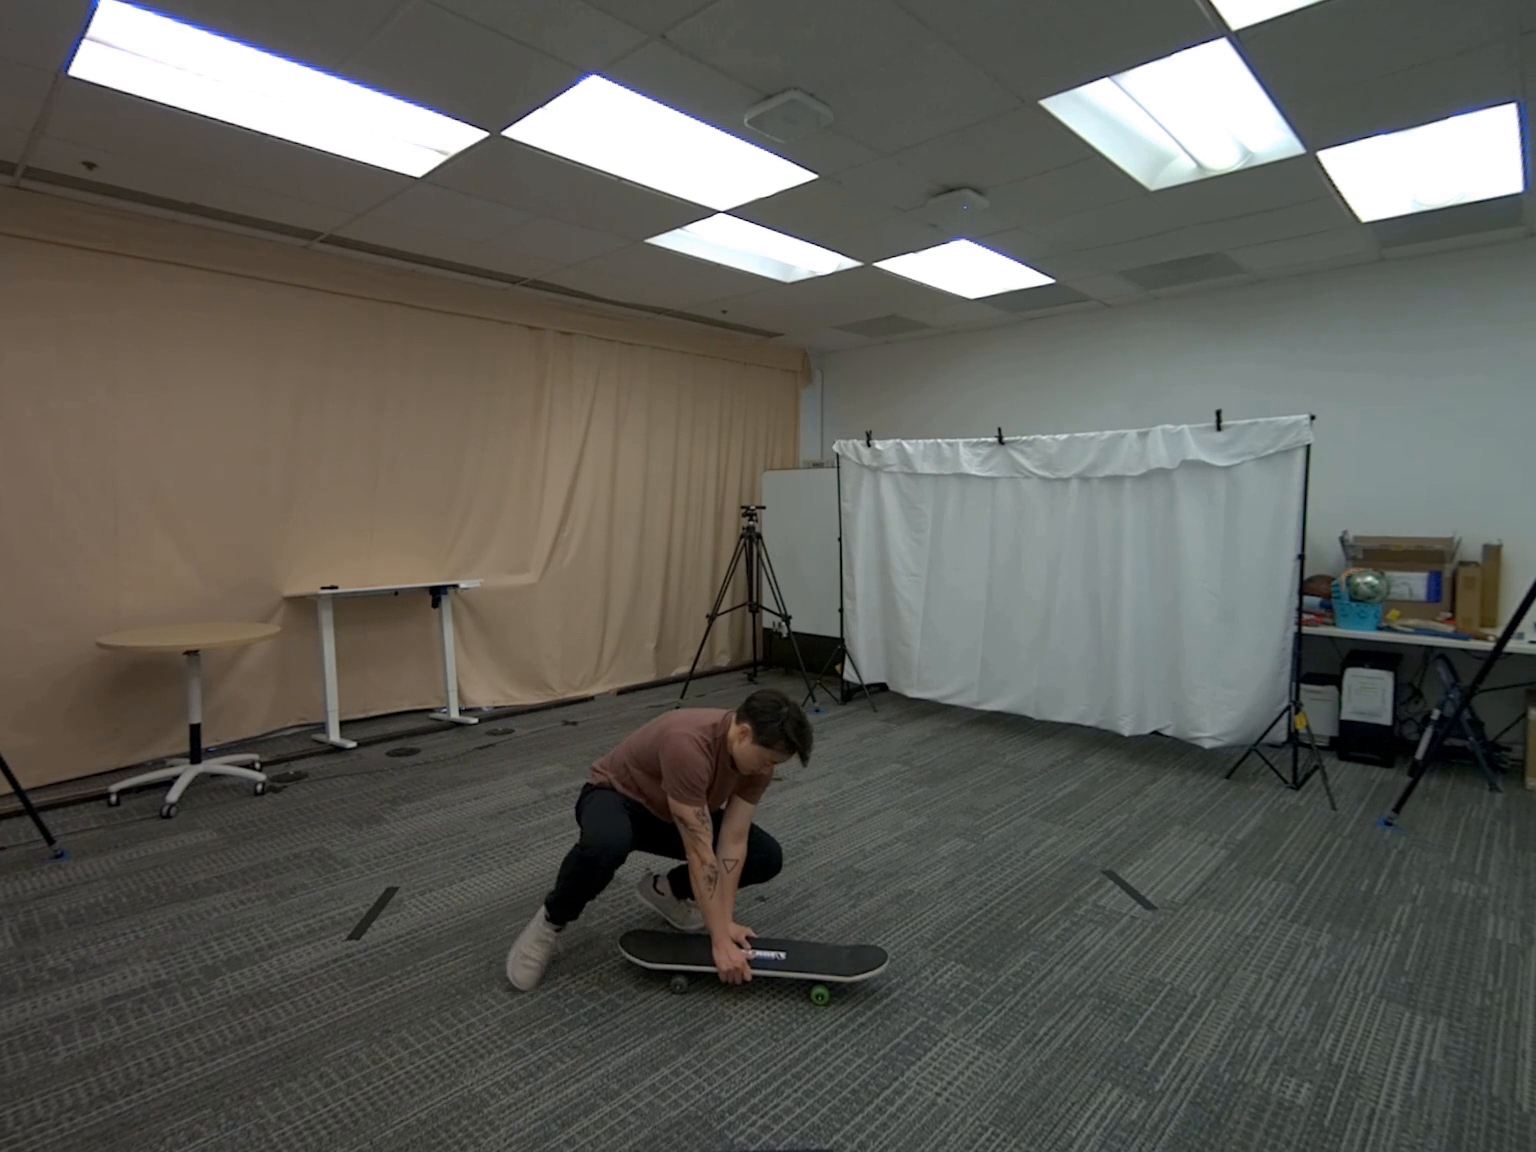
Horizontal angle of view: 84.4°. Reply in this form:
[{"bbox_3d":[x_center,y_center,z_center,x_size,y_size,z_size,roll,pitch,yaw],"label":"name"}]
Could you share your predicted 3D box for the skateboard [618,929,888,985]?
[{"bbox_3d":[-0.039,1.129,2.453,0.791,0.110,0.192,0,3,7],"label":"skateboard"}]
